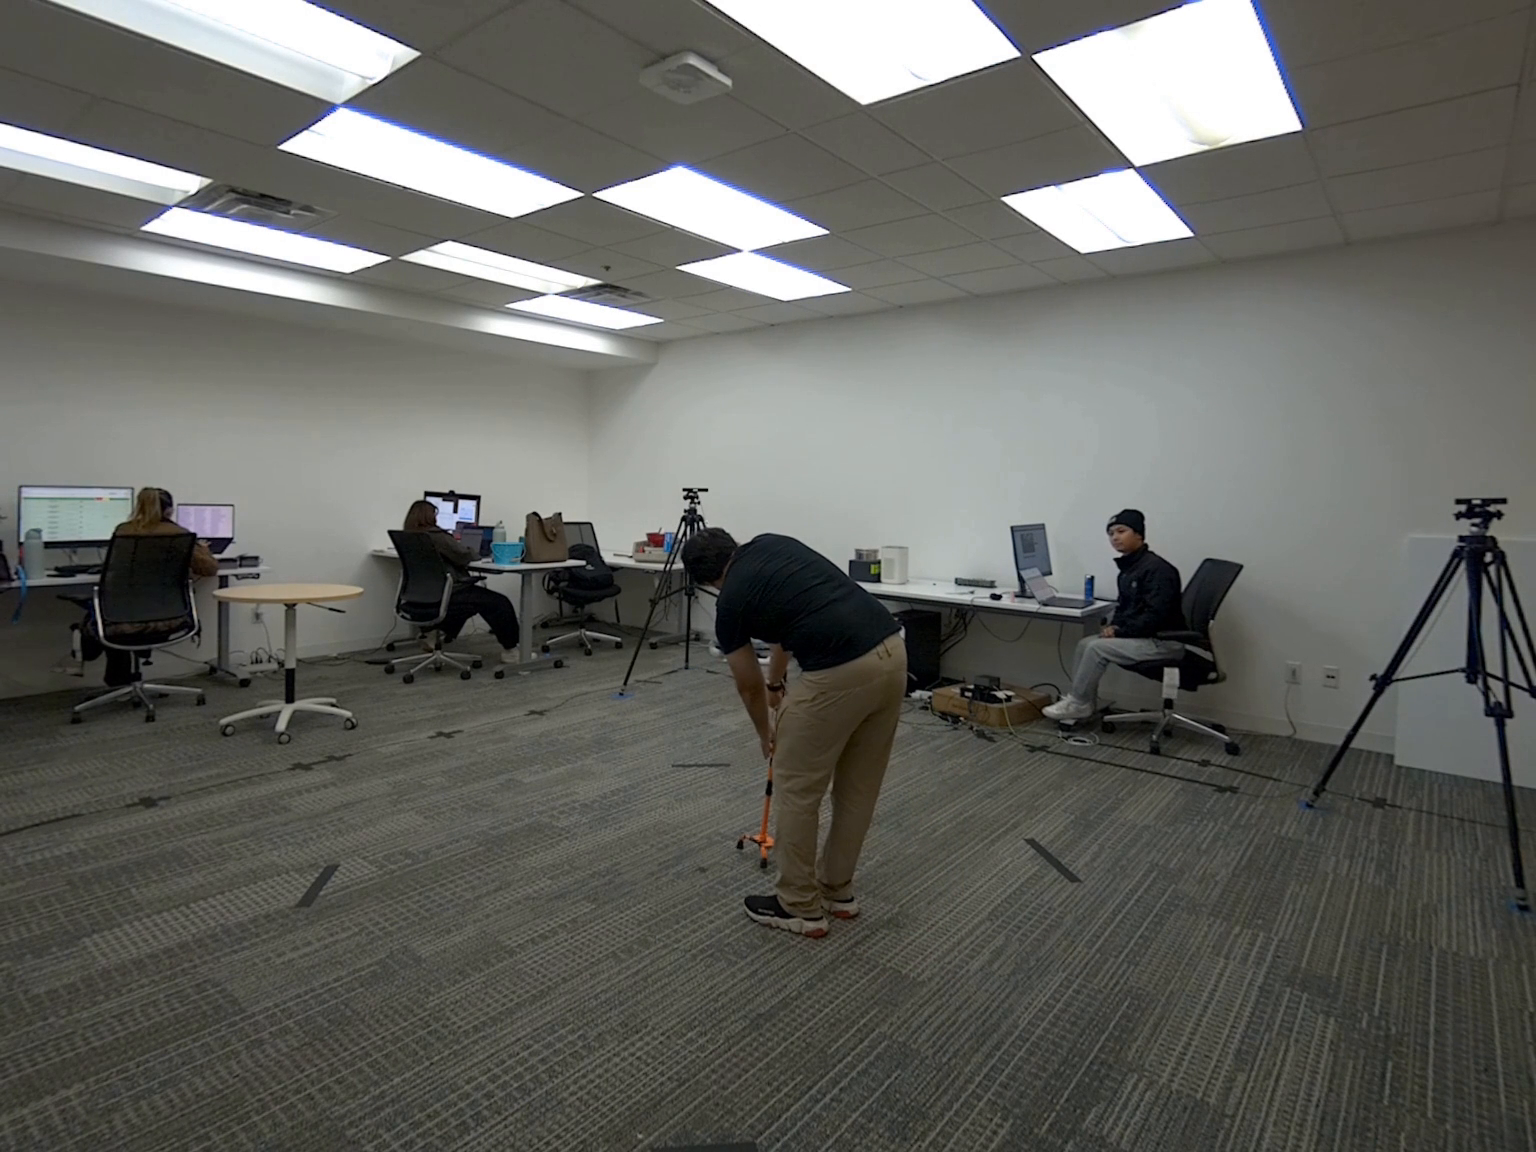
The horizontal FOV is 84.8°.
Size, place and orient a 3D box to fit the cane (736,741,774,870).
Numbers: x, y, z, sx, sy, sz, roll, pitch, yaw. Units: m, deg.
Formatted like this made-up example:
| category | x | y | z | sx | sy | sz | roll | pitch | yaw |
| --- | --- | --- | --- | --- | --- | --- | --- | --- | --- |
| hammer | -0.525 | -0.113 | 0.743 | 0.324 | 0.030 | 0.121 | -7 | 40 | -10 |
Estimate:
| category | x | y | z | sx | sy | sz | roll | pitch | yaw |
| --- | --- | --- | --- | --- | --- | --- | --- | --- | --- |
| cane | 0.029 | 0.610 | 3.194 | 0.147 | 0.906 | 0.213 | 5 | 3 | -29 |
